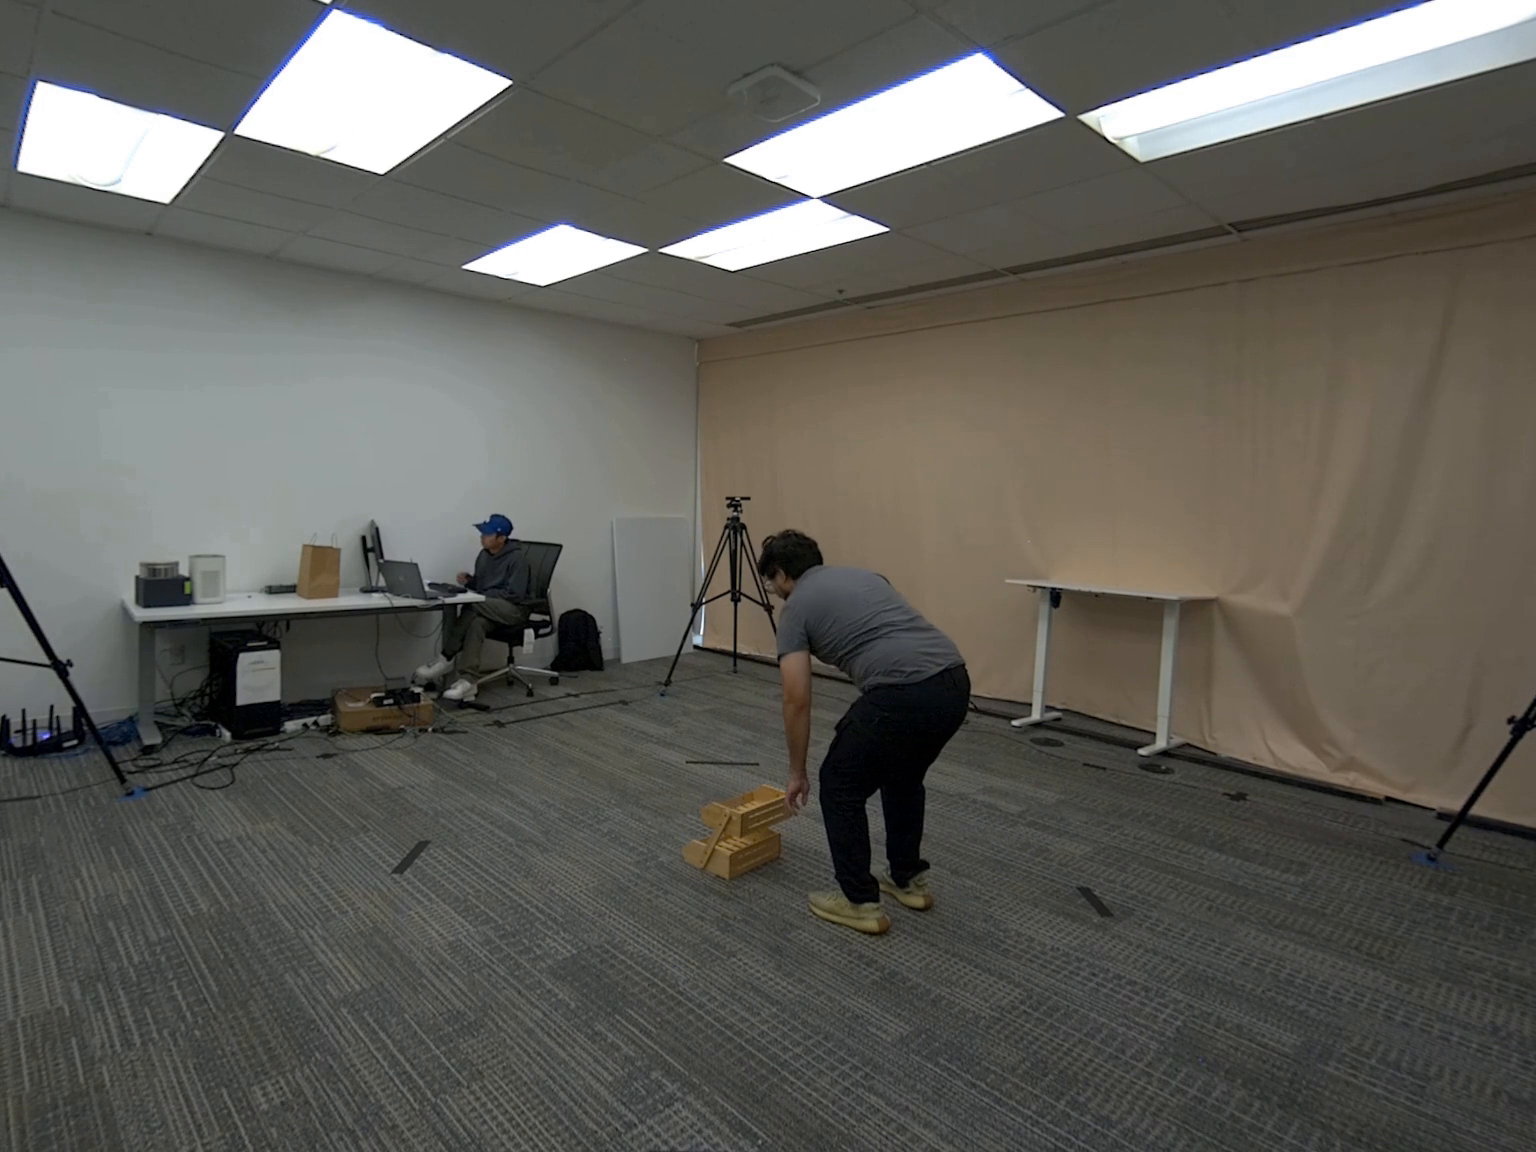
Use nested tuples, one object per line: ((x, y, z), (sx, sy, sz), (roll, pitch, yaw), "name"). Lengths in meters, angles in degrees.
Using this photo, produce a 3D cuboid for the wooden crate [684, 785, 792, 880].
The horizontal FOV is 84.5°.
((-0.127, 0.962, 3.239), (0.310, 0.272, 0.317), (5, 5, 41), "wooden crate")
